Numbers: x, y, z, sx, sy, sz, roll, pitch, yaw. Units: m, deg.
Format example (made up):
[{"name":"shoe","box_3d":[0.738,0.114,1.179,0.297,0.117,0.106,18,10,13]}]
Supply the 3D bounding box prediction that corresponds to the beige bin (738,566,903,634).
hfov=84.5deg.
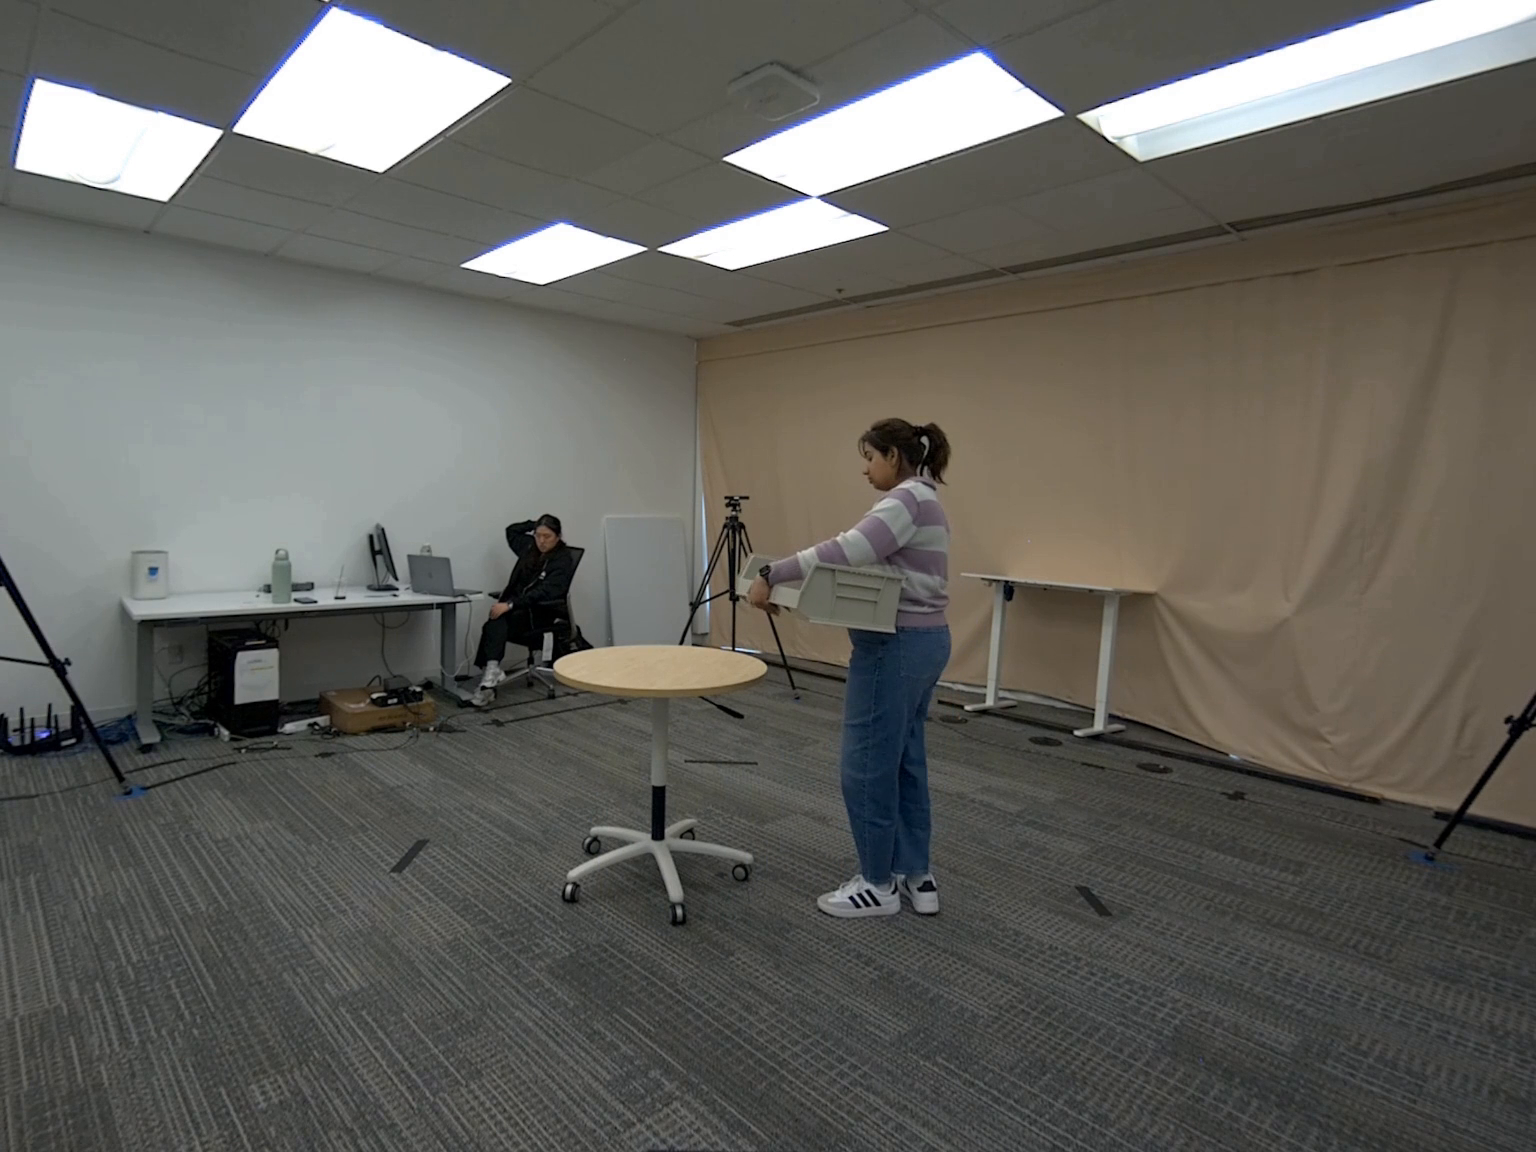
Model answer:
[{"name":"beige bin","box_3d":[0.151,0.055,2.695,0.369,0.189,0.431,9,0,-28]}]
